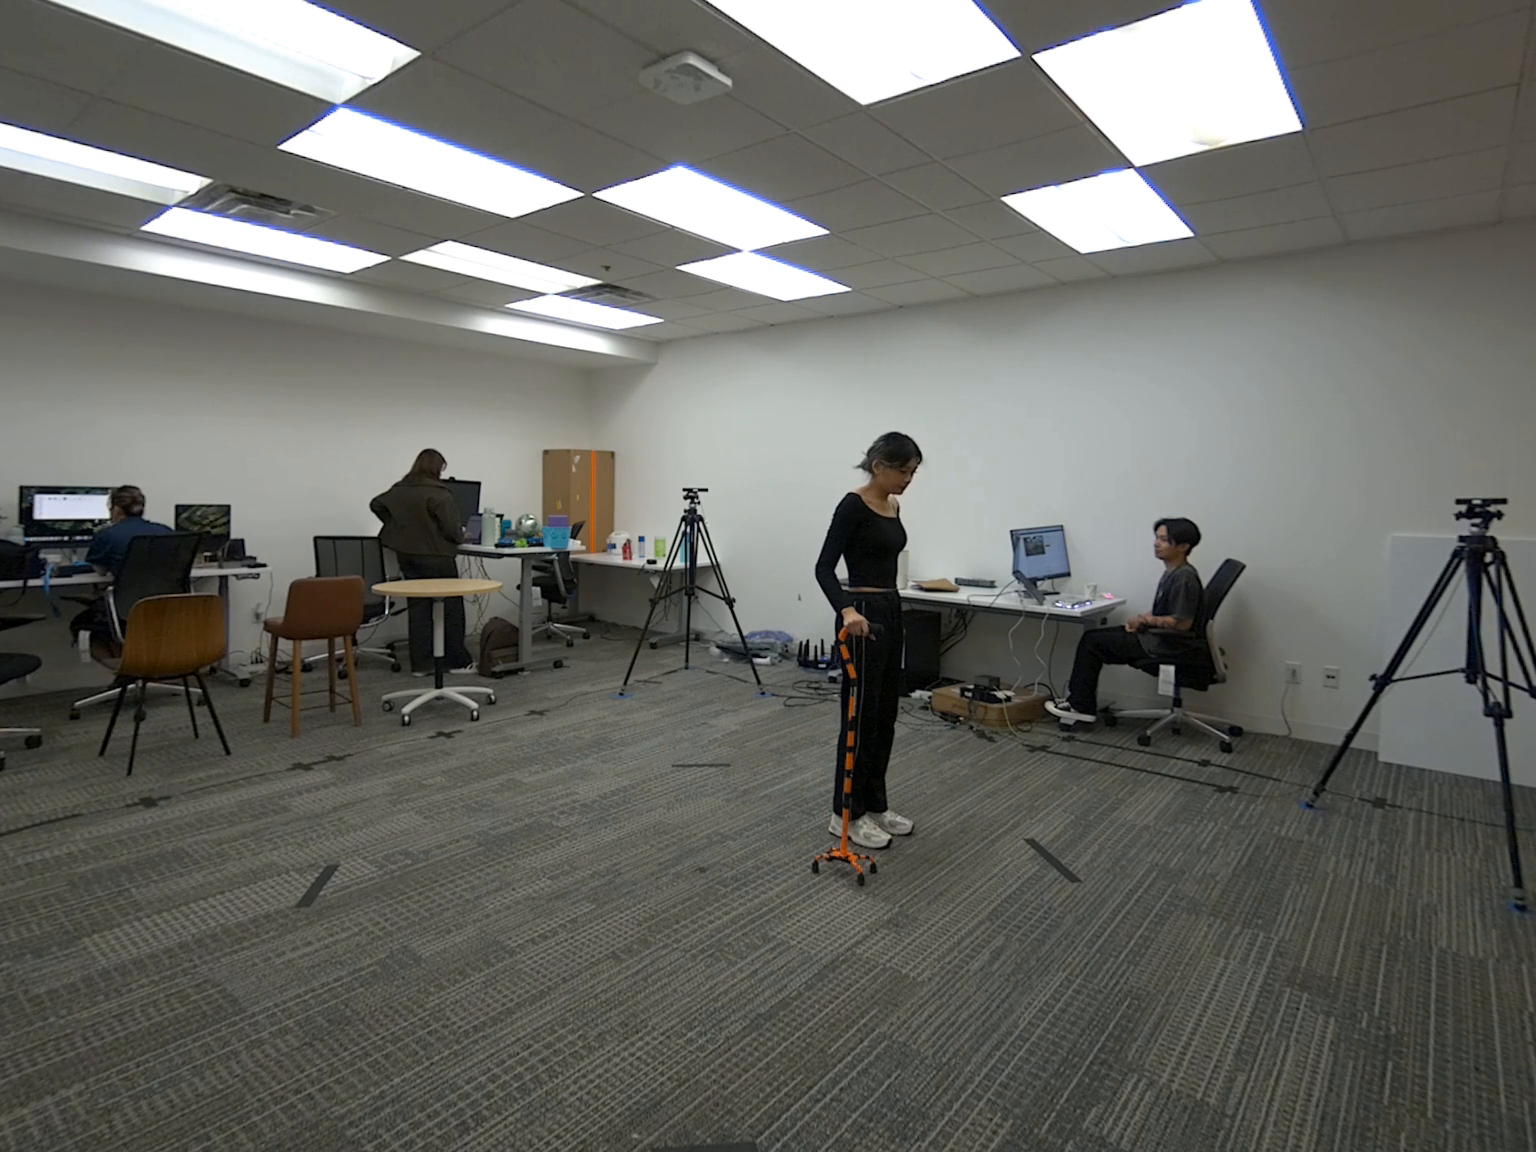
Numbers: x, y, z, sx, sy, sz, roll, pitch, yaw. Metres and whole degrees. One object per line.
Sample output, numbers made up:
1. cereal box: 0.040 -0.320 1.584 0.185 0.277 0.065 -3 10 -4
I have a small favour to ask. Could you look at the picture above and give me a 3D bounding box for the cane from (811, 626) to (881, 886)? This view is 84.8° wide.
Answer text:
1. cane: 0.298 0.625 3.113 0.212 0.907 0.148 3 1 27
